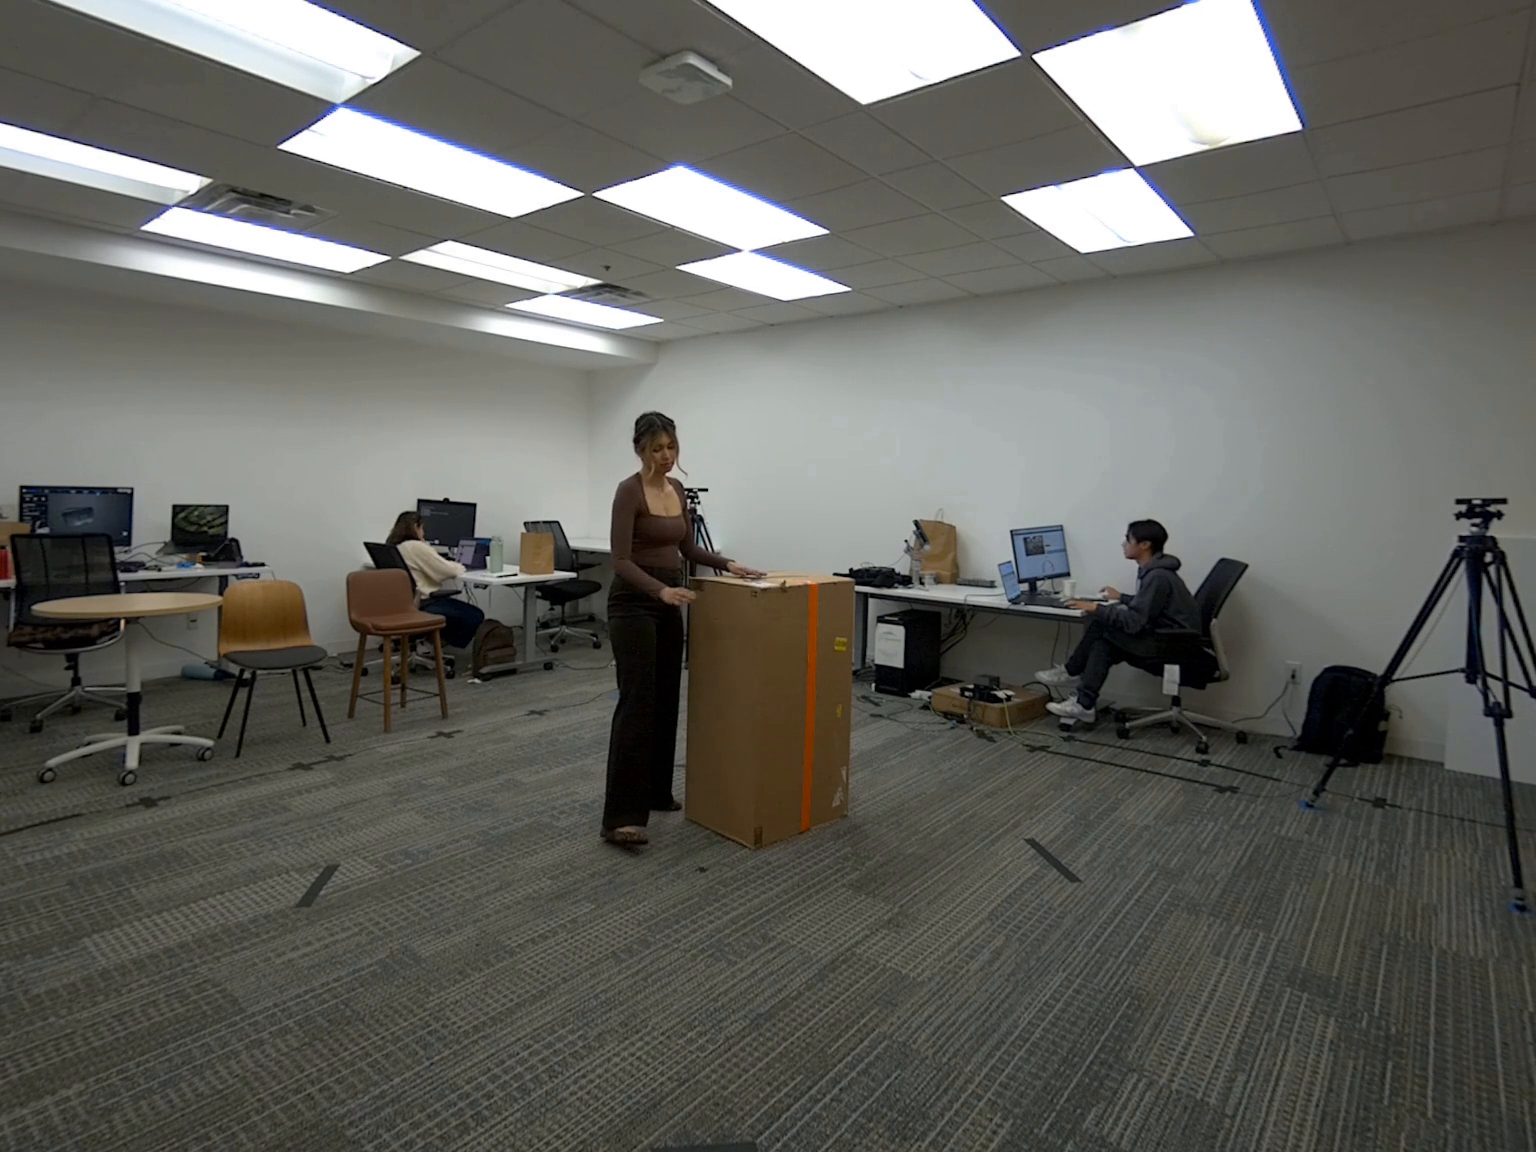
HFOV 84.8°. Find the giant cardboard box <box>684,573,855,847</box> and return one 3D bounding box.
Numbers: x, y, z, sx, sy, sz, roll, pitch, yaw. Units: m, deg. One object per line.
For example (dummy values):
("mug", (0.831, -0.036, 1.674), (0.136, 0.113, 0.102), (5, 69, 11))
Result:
("giant cardboard box", (0.002, 0.516, 3.602), (0.566, 1.024, 0.462), (-2, 5, -43))
